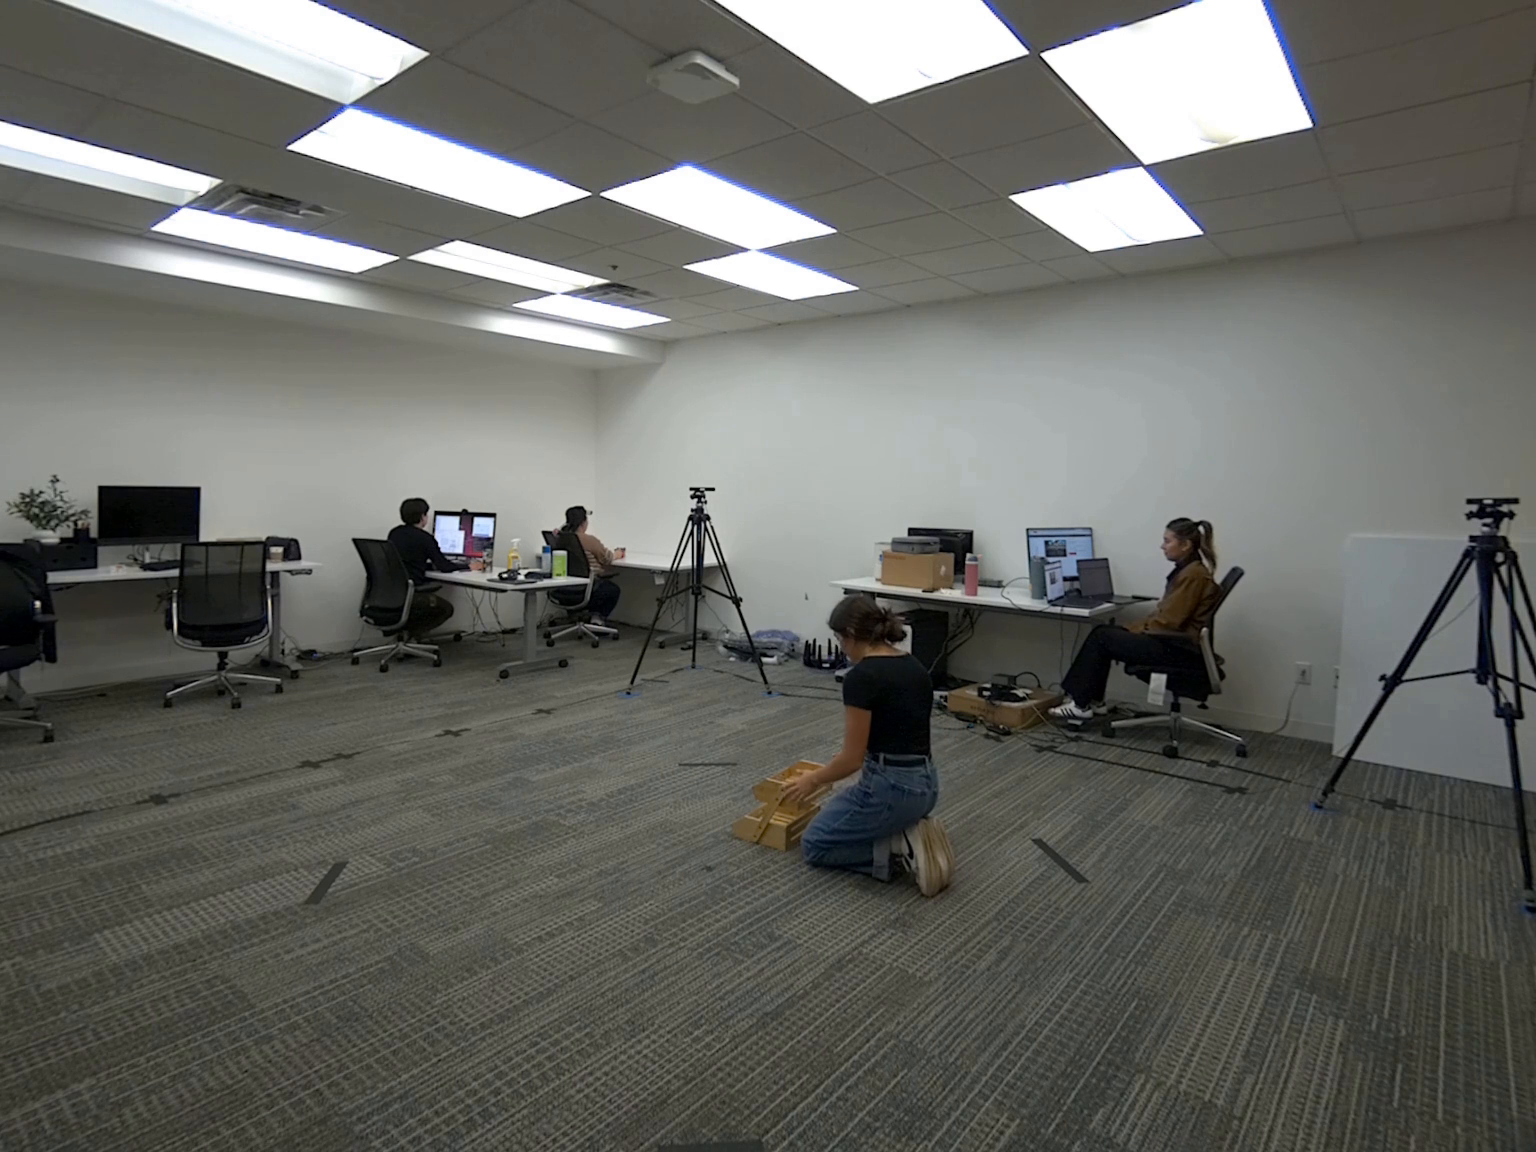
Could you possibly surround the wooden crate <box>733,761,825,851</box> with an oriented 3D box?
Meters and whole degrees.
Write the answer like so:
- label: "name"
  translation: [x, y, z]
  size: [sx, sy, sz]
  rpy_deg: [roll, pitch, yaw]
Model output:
- label: "wooden crate"
  translation: [0.049, 0.907, 3.449]
  size: [0.311, 0.272, 0.316]
  rpy_deg: [4, 6, 31]
